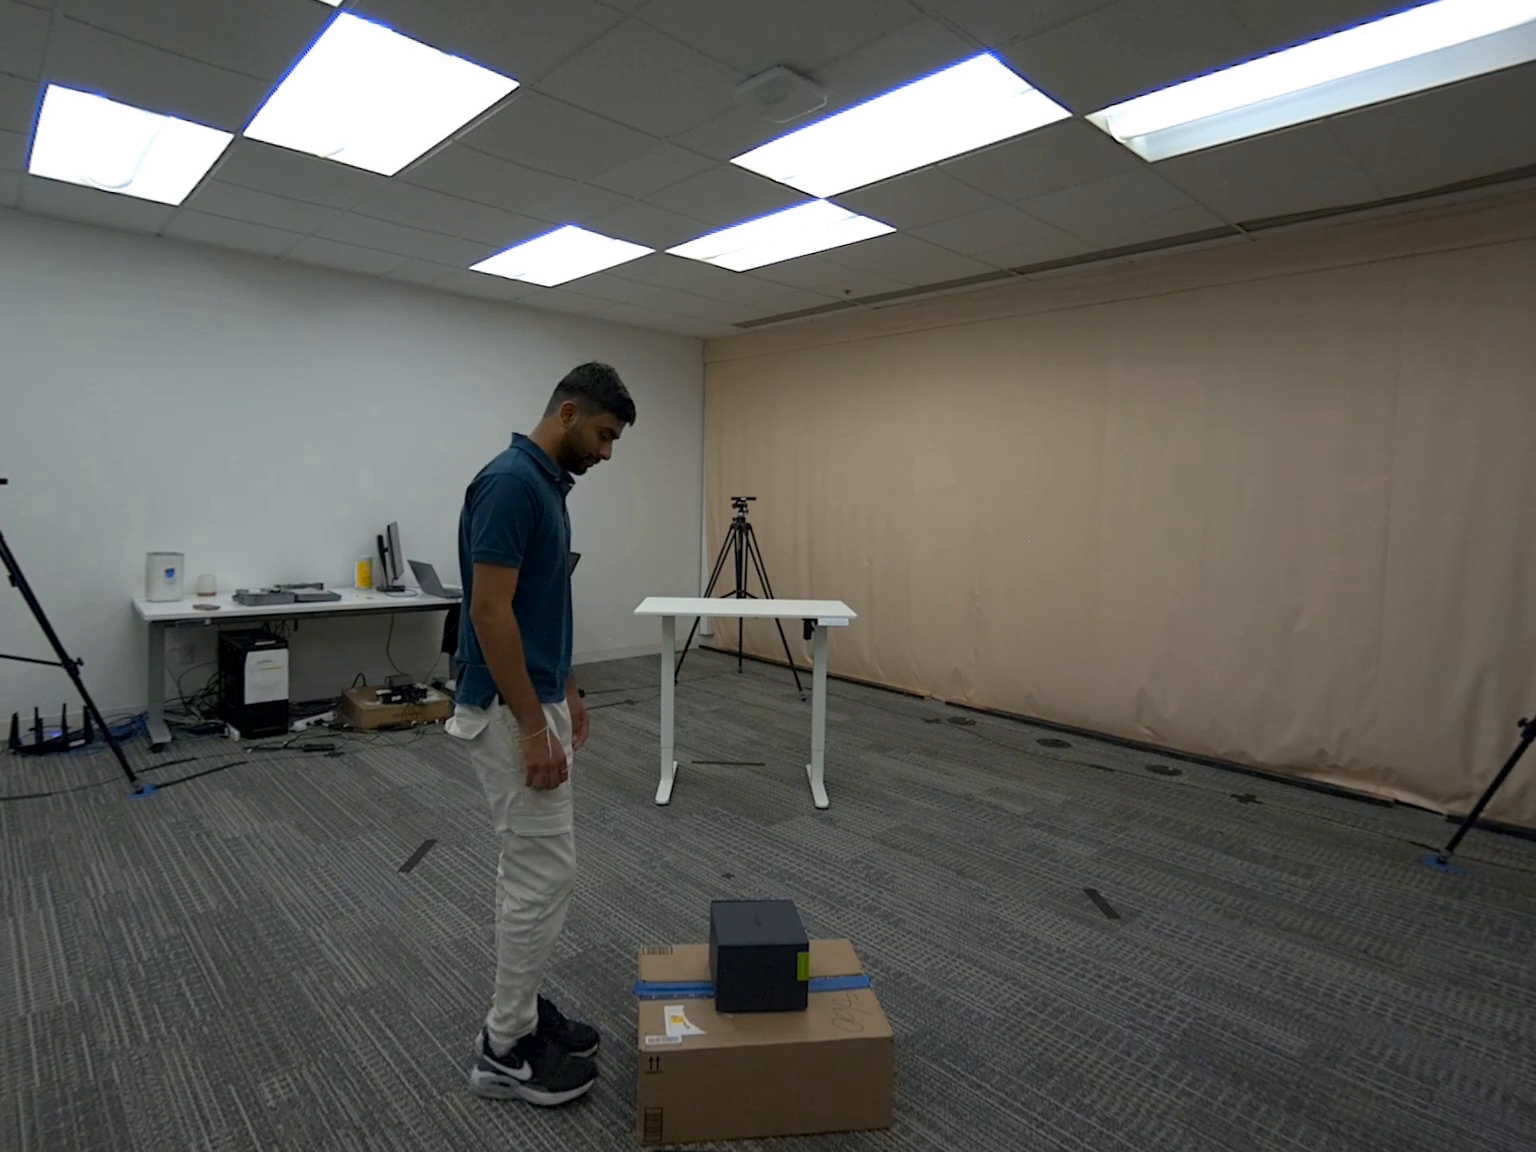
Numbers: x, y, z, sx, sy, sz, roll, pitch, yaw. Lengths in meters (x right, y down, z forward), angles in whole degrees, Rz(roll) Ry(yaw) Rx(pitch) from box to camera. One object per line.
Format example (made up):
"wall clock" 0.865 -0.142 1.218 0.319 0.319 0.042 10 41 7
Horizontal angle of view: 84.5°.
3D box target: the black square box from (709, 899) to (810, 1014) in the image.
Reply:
"black square box" -0.036 0.911 2.032 0.216 0.155 0.229 2 3 -7
